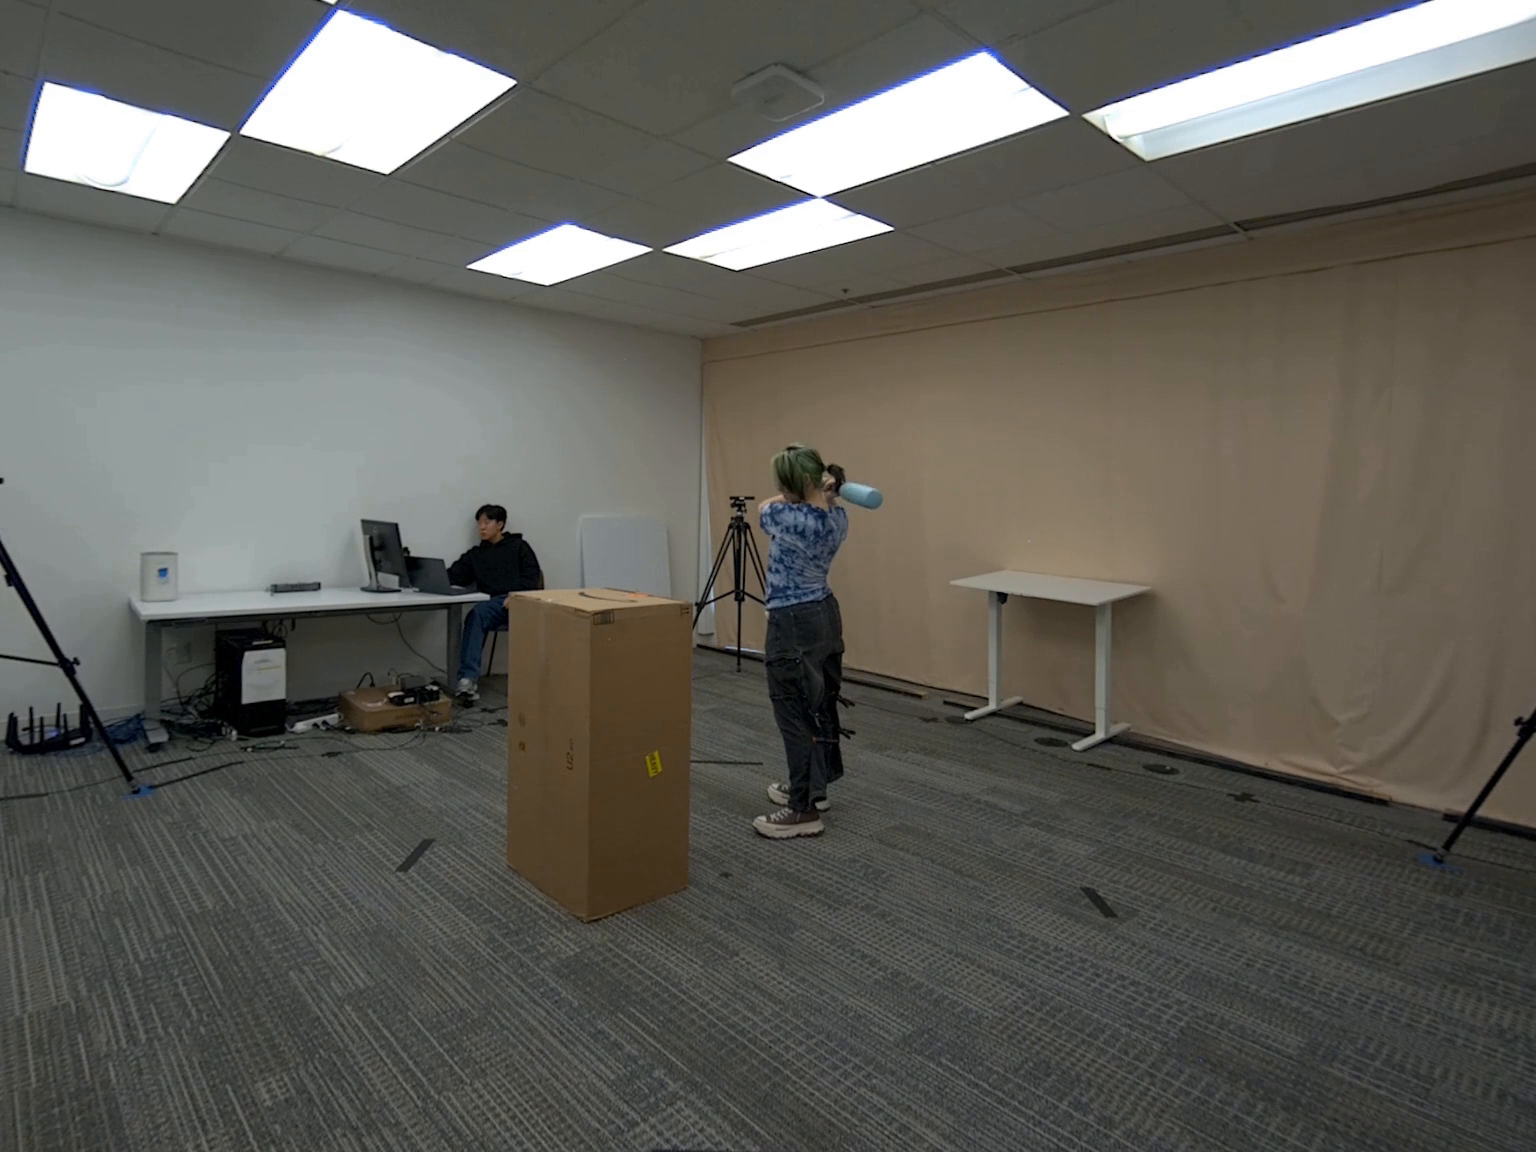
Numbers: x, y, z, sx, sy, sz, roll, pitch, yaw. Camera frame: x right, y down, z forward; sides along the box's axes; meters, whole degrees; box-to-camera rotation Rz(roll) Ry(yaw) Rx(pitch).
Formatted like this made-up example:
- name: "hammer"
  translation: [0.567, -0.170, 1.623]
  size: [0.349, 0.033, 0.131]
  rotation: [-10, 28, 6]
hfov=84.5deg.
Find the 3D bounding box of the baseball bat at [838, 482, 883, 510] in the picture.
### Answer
- name: "baseball bat"
  translation: [0.318, -0.379, 3.665]
  size: [0.087, 0.088, 0.556]
  rotation: [0, 14, -23]
